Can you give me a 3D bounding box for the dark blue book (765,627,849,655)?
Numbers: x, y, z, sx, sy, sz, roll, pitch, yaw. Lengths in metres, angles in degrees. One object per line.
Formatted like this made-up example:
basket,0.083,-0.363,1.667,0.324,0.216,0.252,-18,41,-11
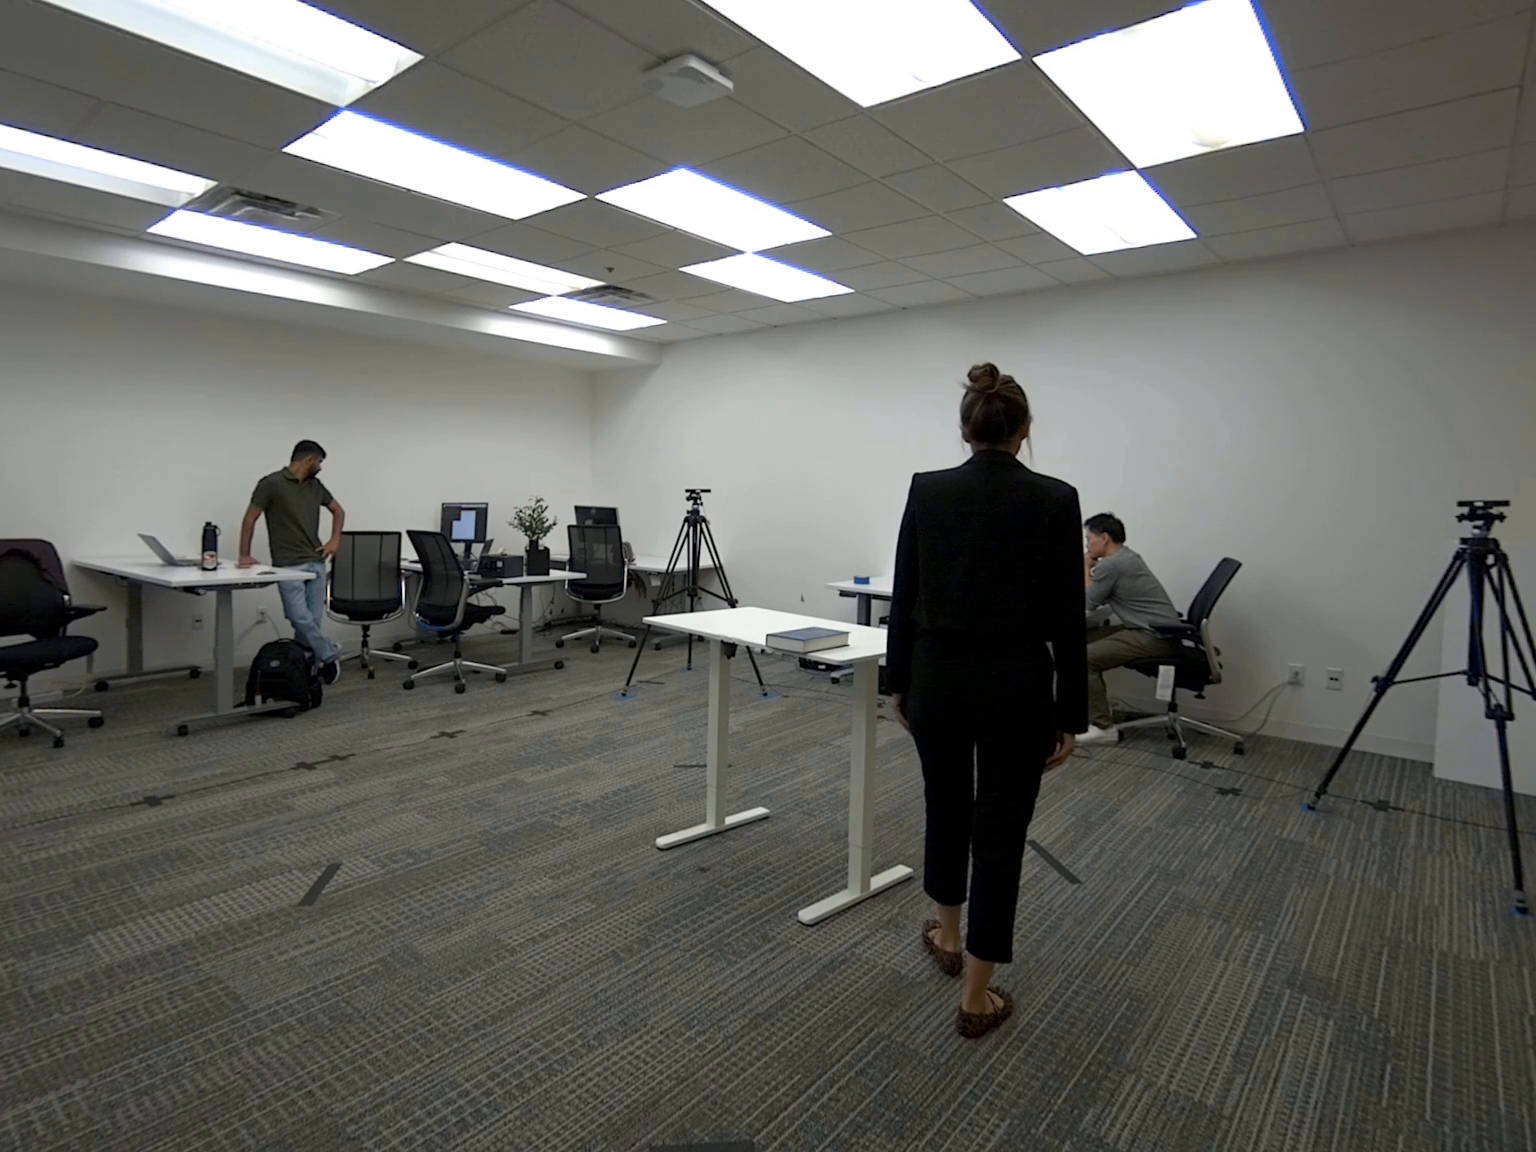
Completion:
dark blue book,0.124,0.207,2.809,0.169,0.045,0.238,6,8,44
